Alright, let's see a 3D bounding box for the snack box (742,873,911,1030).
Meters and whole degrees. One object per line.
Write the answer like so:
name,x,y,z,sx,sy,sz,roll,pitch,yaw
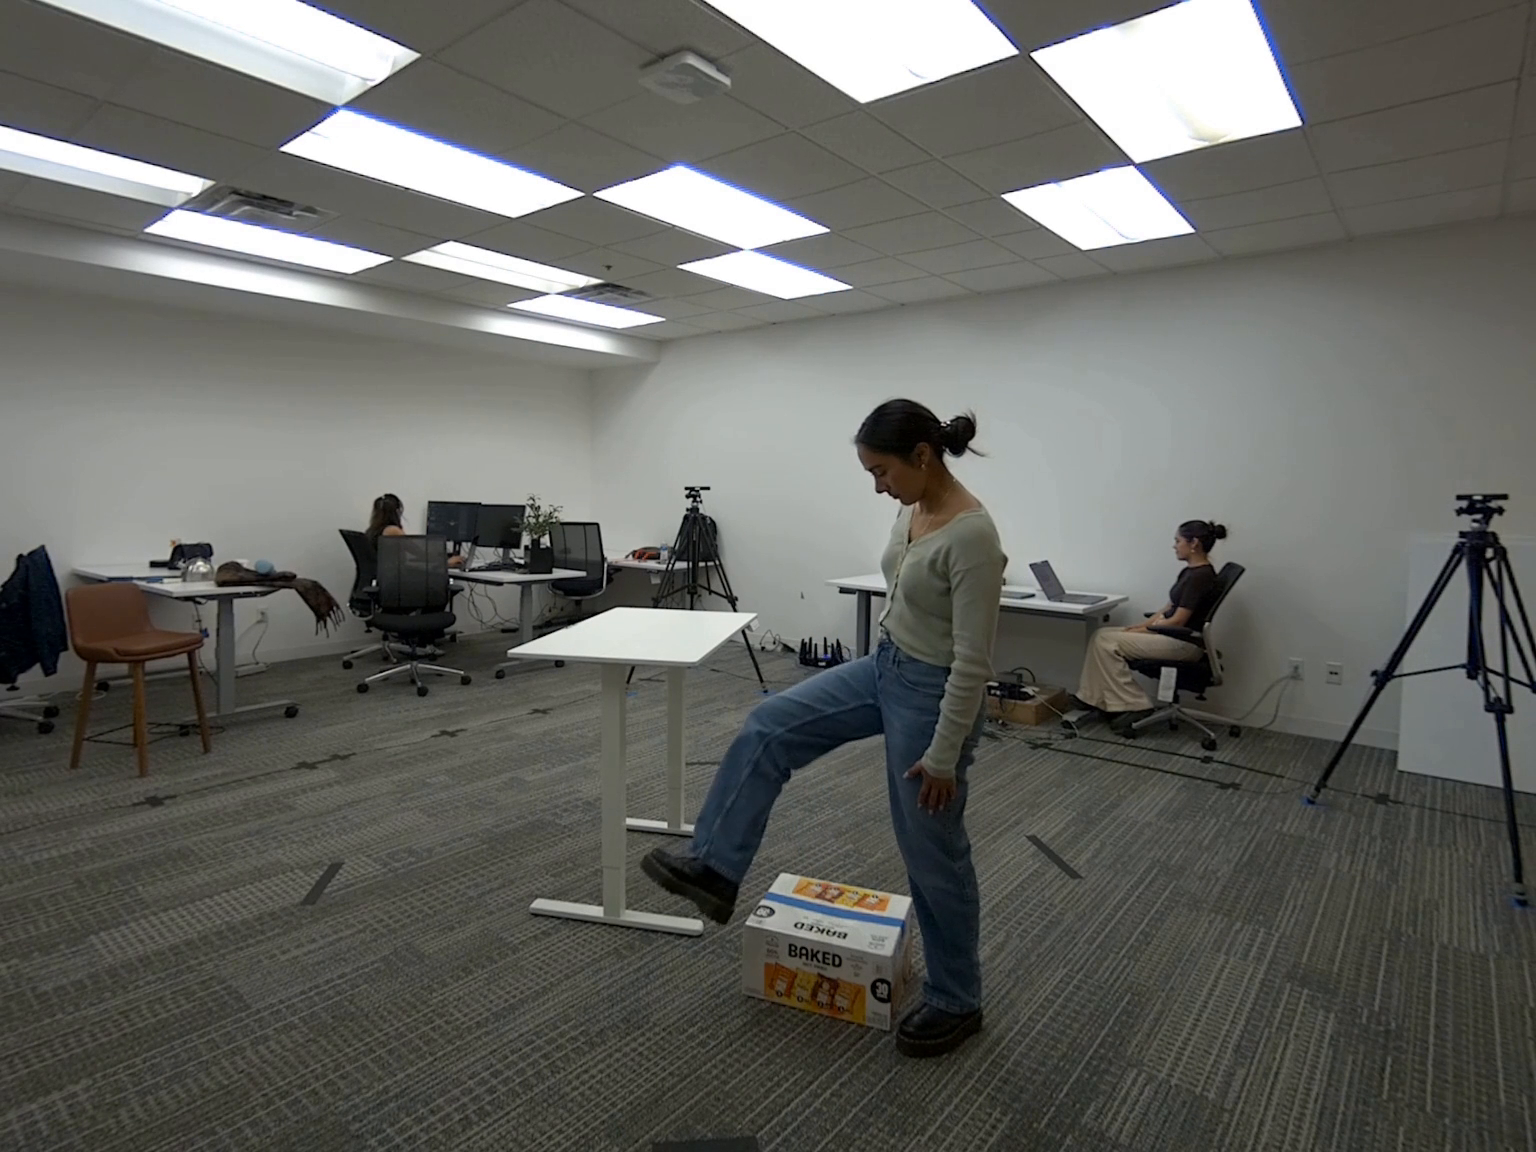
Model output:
snack box,0.170,1.042,2.401,0.414,0.205,0.334,3,5,20
